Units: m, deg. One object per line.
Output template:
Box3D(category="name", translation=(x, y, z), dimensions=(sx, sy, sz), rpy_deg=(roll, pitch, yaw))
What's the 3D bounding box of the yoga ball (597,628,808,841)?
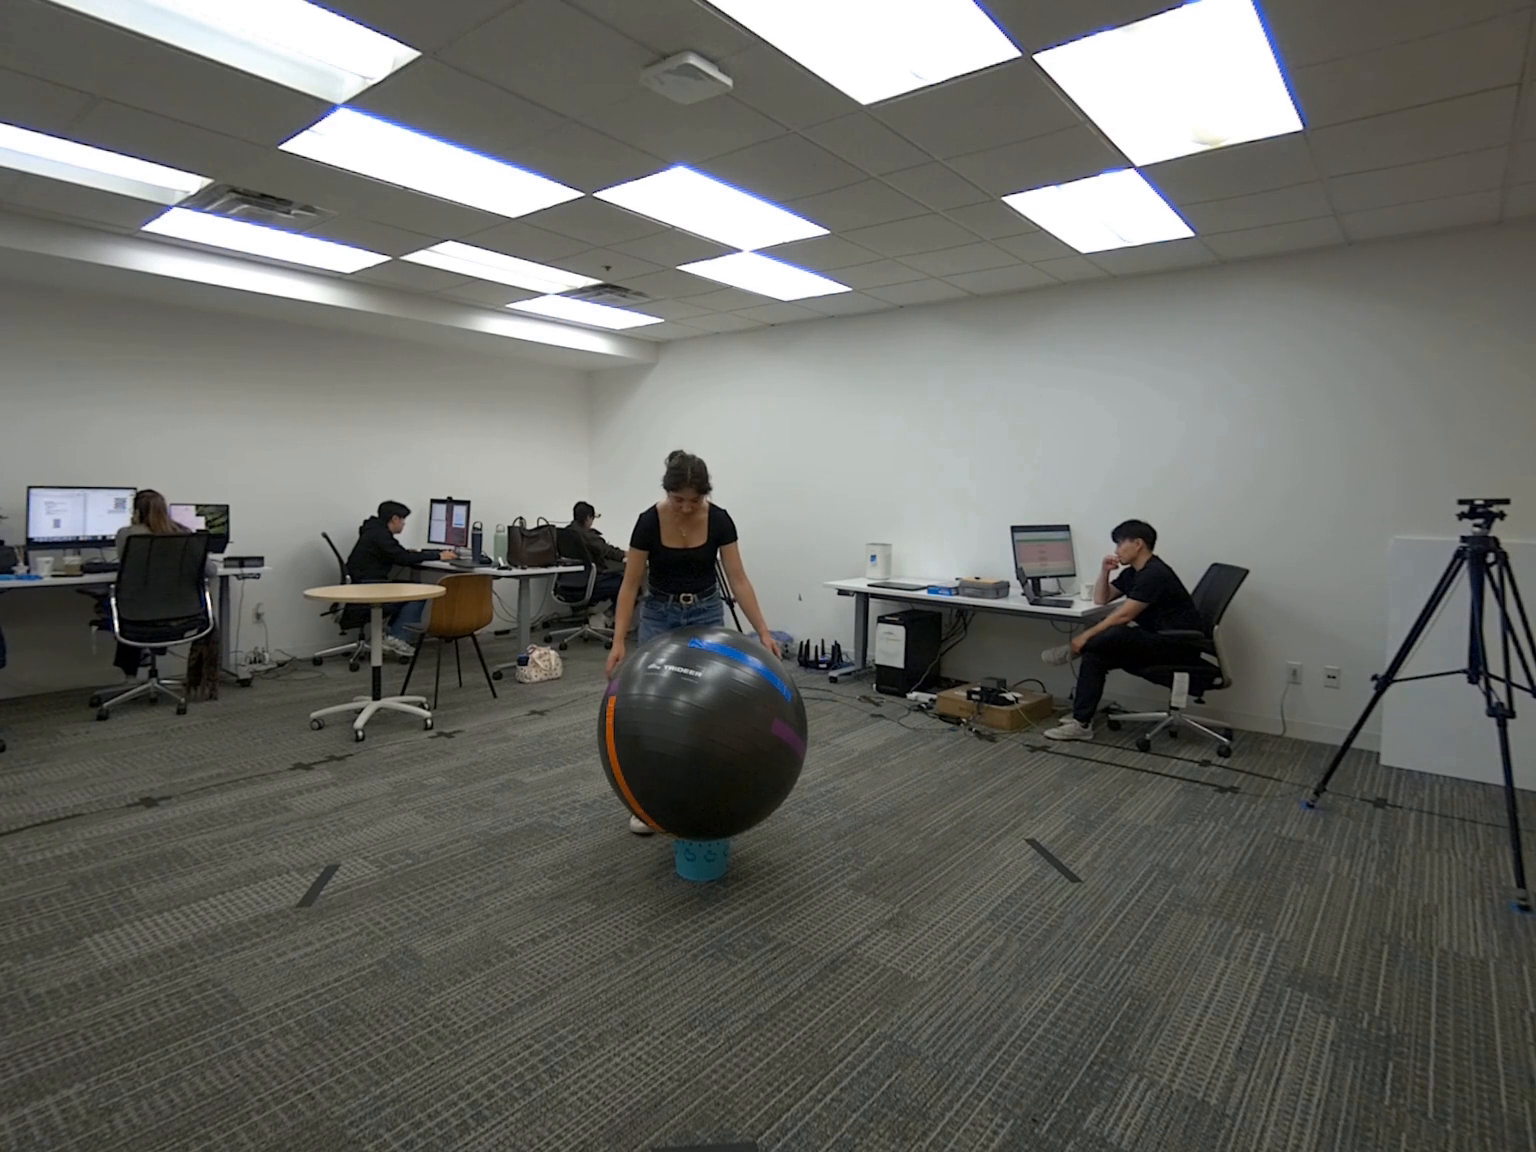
Box3D(category="yoga ball", translation=(-0.245, 0.559, 3.082), dimensions=(0.757, 0.756, 0.762), rpy_deg=(1, 4, -2))
